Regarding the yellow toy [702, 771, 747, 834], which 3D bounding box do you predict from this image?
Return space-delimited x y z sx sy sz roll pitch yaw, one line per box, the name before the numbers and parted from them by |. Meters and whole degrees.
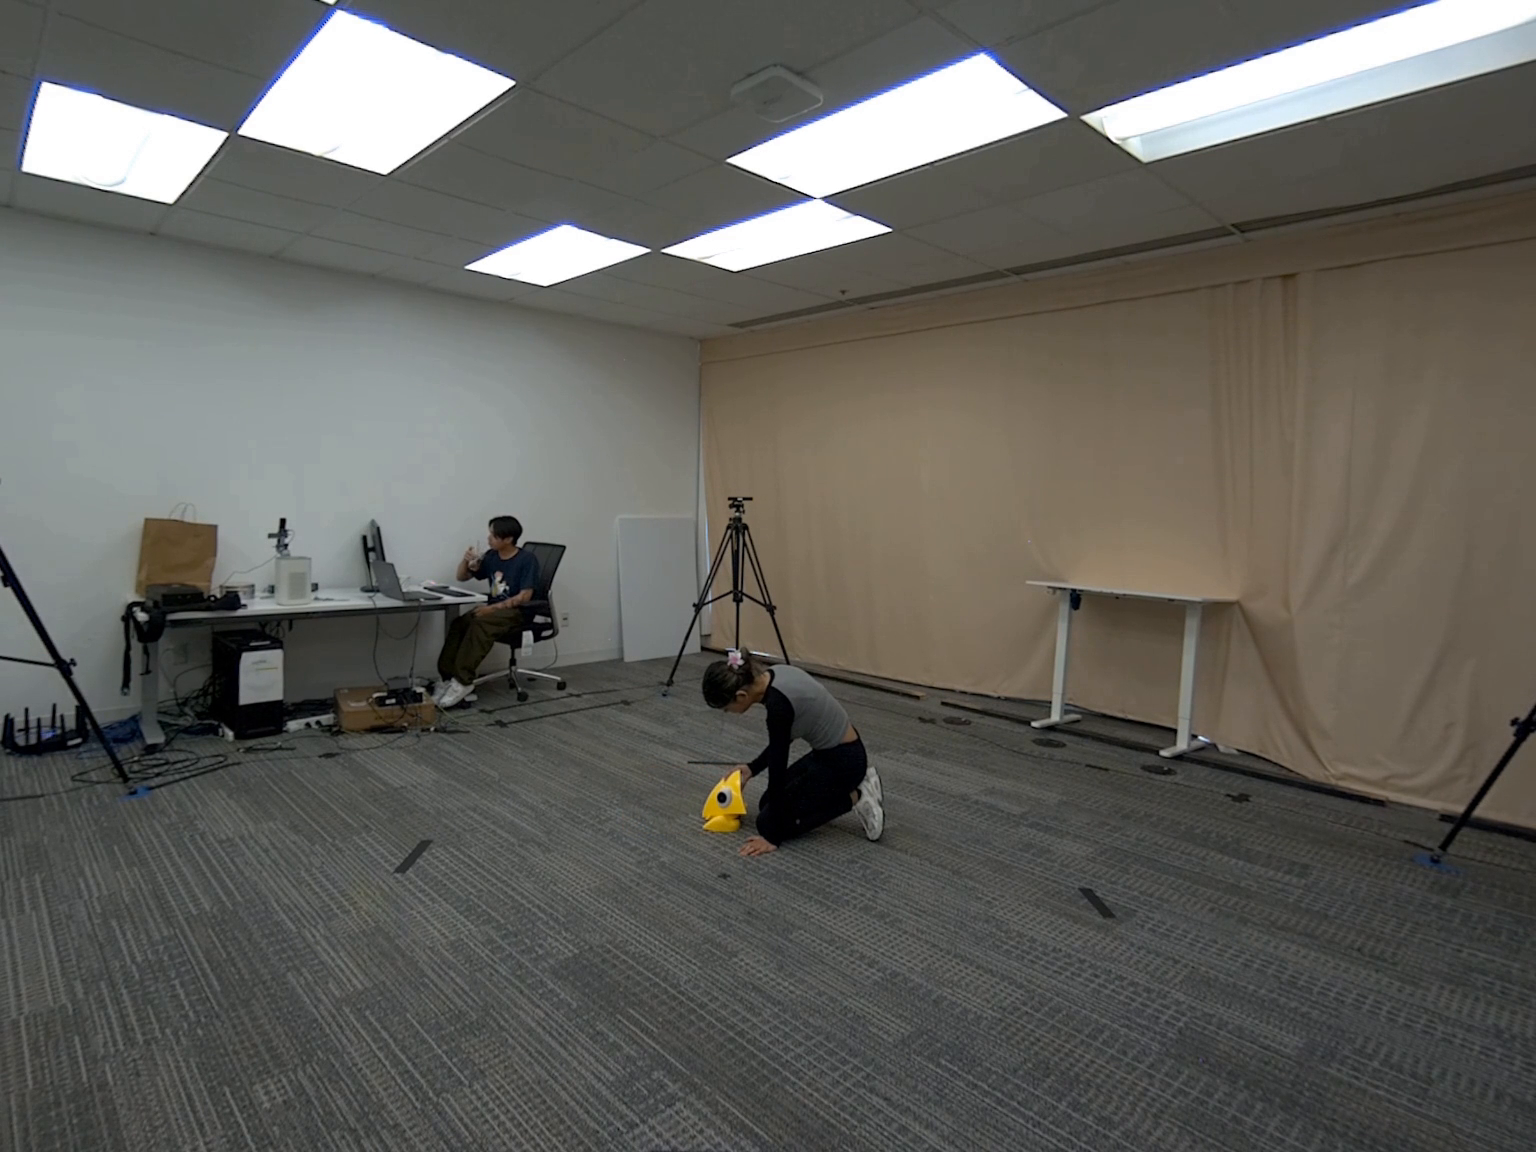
yellow toy | -0.189 0.942 3.614 0.193 0.230 0.205 2 3 -1
